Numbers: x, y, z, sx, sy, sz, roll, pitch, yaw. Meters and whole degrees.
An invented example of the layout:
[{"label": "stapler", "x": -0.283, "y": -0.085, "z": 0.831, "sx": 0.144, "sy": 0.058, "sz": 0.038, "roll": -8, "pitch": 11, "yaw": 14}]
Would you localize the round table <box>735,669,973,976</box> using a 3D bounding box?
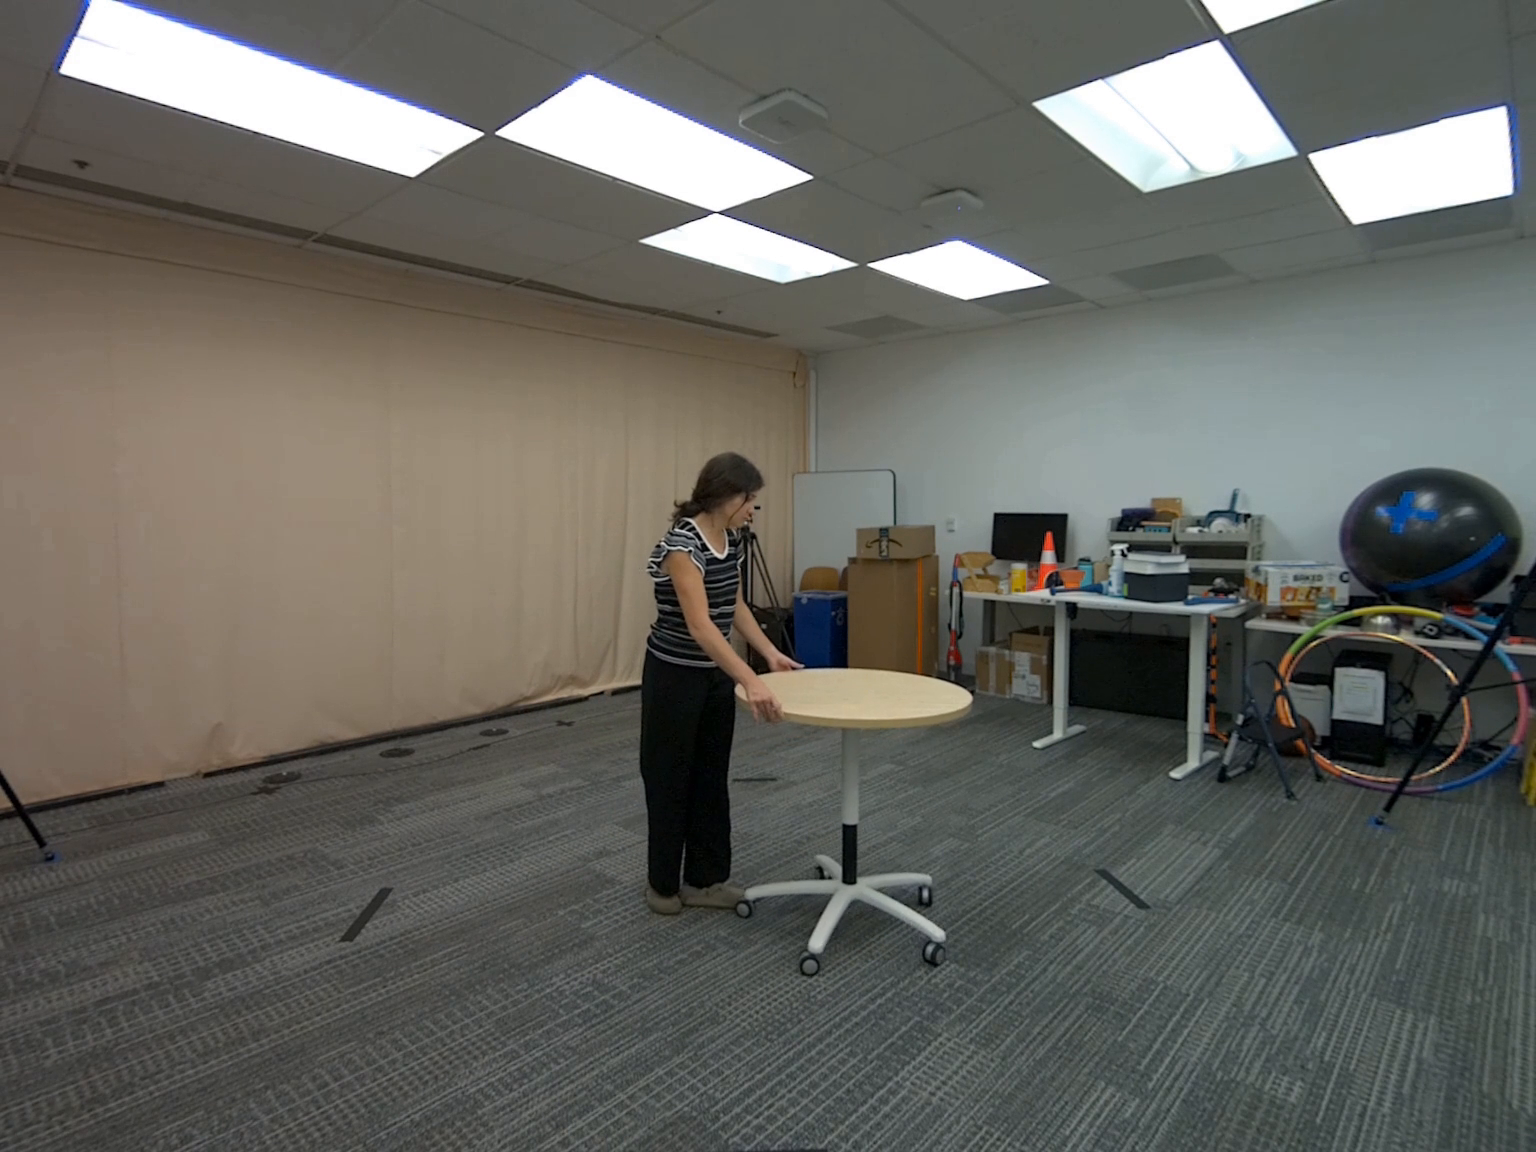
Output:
[{"label": "round table", "x": 0.278, "y": 0.765, "z": 2.799, "sx": 0.784, "sy": 0.785, "sz": 0.787, "roll": 0, "pitch": 3, "yaw": -2}]
